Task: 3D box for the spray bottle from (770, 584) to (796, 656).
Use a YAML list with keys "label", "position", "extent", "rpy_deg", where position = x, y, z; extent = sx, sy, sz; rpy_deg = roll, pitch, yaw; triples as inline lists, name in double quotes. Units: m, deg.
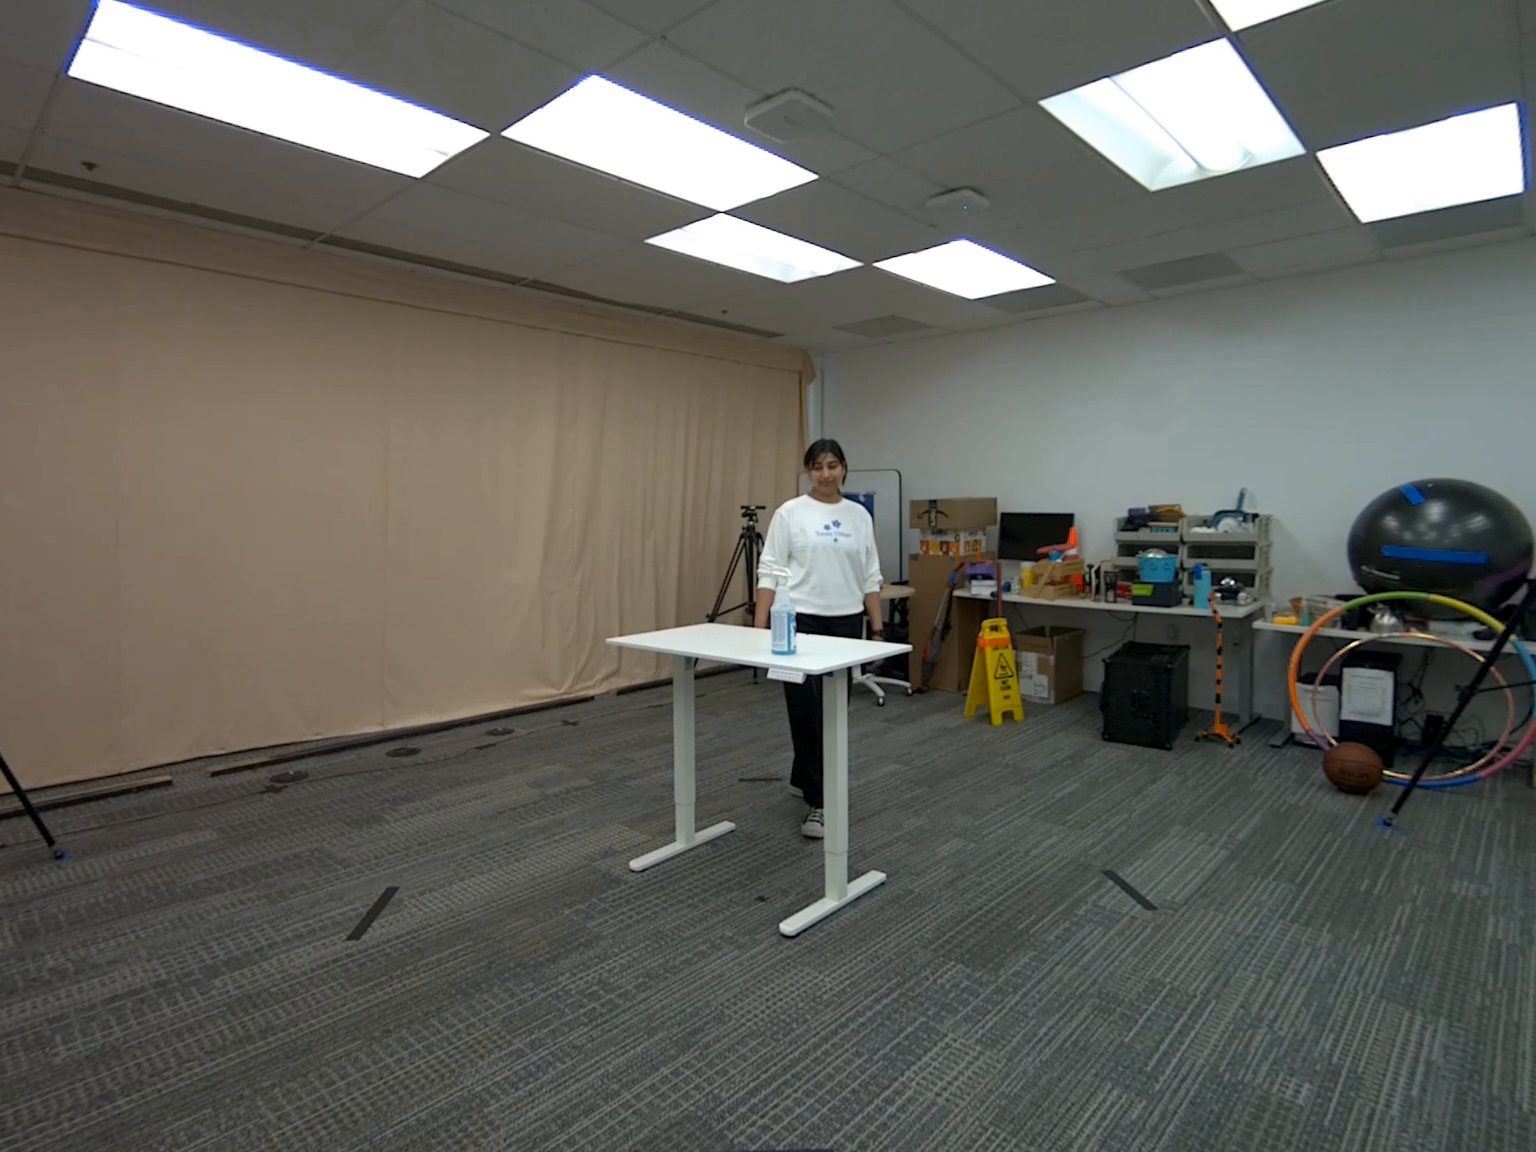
- label: "spray bottle"
  position: [0.047, 0.120, 2.897]
  extent: [0.085, 0.297, 0.092]
  rpy_deg: [-2, 0, -22]
